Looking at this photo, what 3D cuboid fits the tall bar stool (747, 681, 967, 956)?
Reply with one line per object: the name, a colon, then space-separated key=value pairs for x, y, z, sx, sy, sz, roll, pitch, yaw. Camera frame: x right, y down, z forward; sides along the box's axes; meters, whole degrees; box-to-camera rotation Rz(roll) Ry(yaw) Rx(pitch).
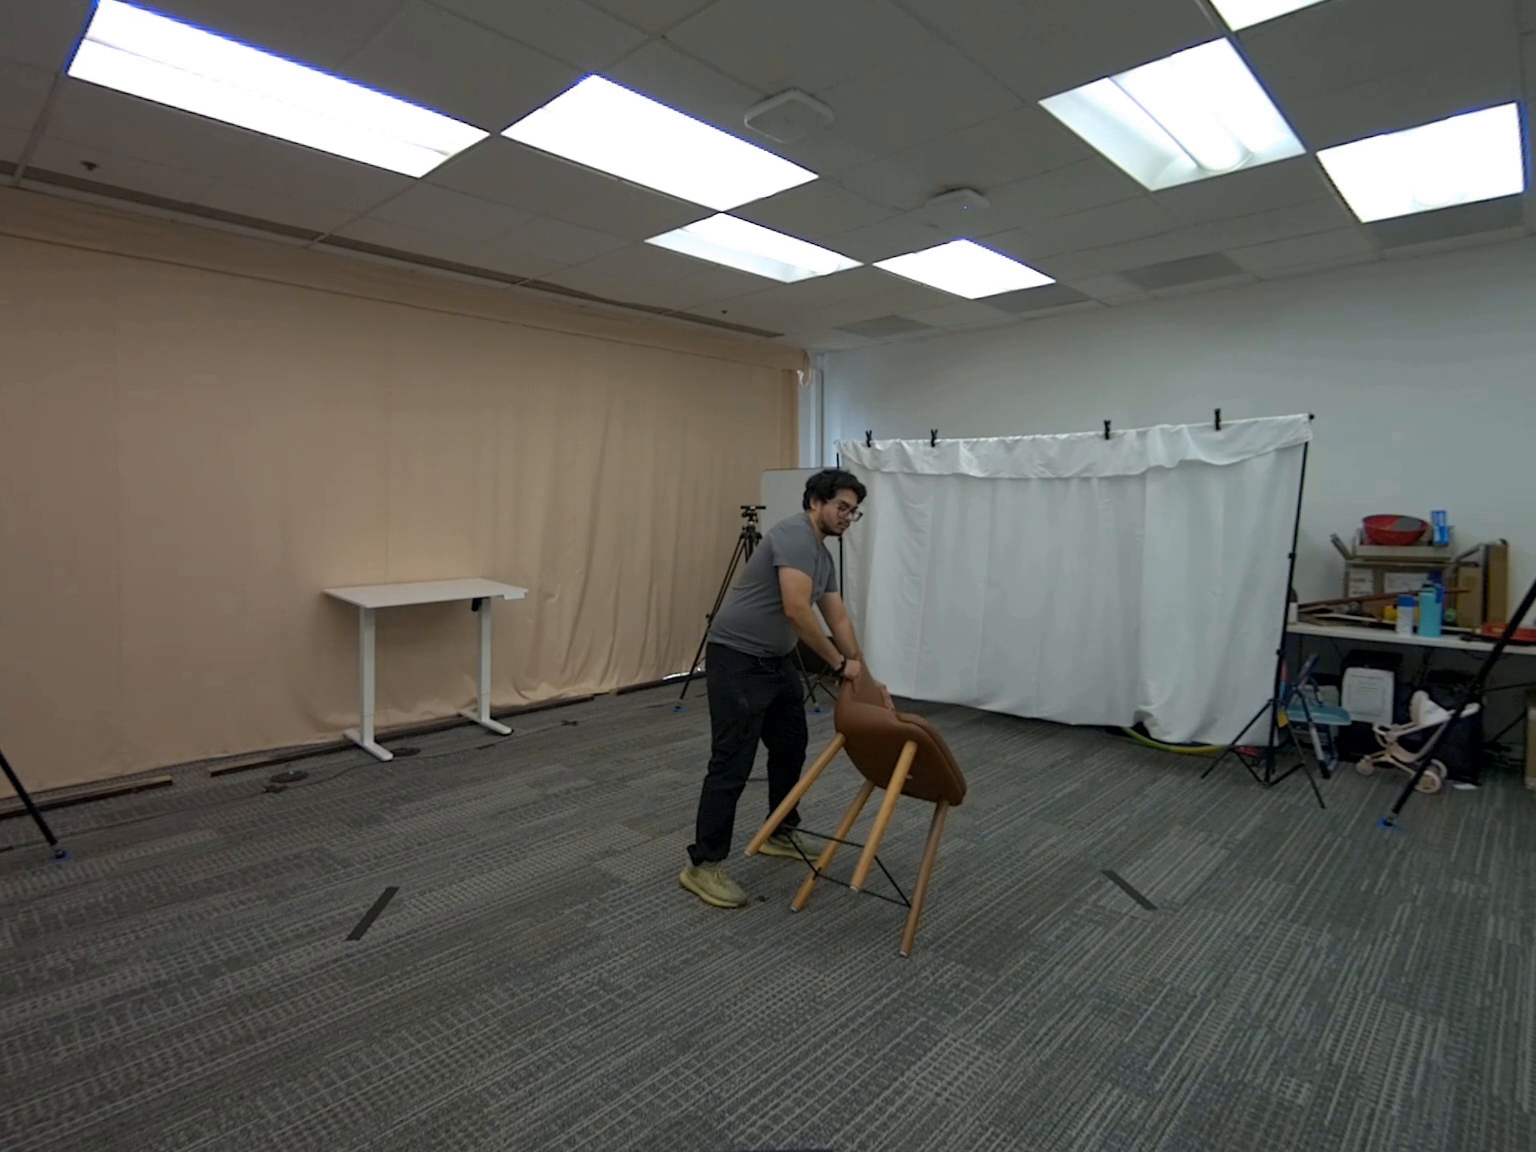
tall bar stool: x=0.381 y=0.722 z=2.881 sx=0.482 sy=0.443 sz=0.888 roll=-1 pitch=45 yaw=41
